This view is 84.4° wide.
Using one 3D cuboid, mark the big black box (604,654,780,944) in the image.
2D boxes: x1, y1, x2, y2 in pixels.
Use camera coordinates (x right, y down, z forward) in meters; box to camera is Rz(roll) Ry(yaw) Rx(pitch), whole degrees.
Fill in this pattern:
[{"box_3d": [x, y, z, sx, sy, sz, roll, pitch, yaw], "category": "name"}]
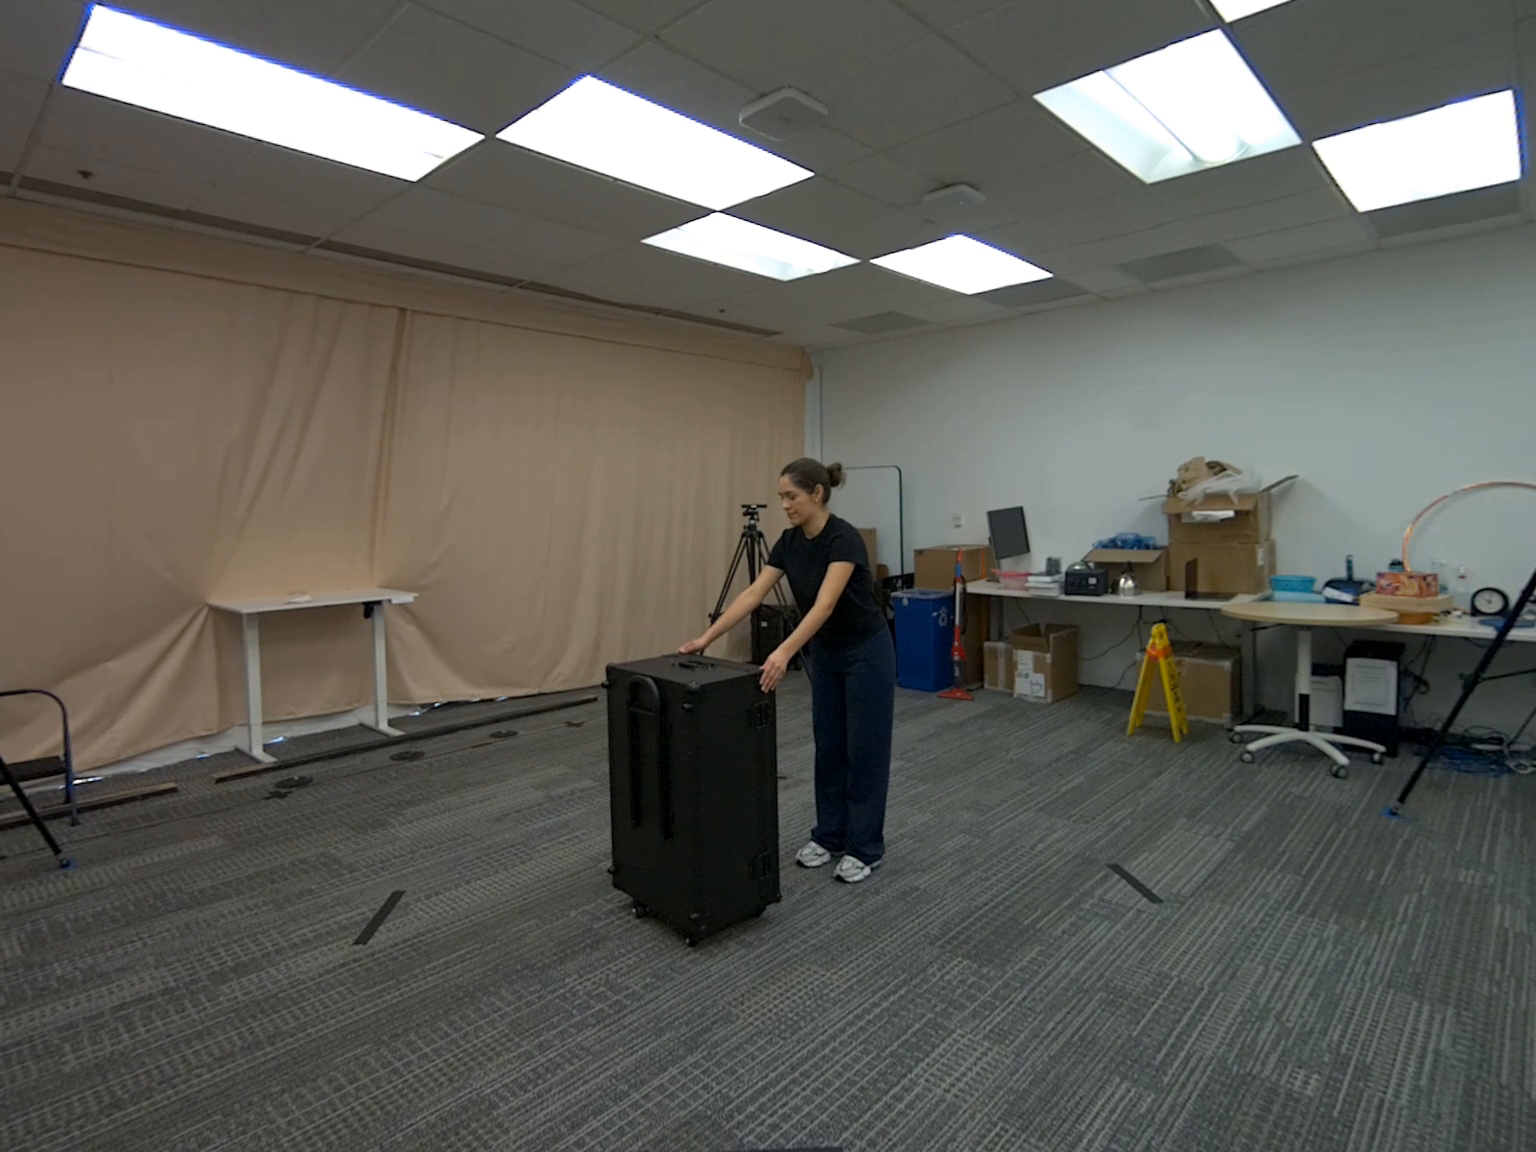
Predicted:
[{"box_3d": [-0.244, 0.732, 2.844, 0.384, 0.859, 0.538, -6, 6, -43], "category": "big black box"}]
